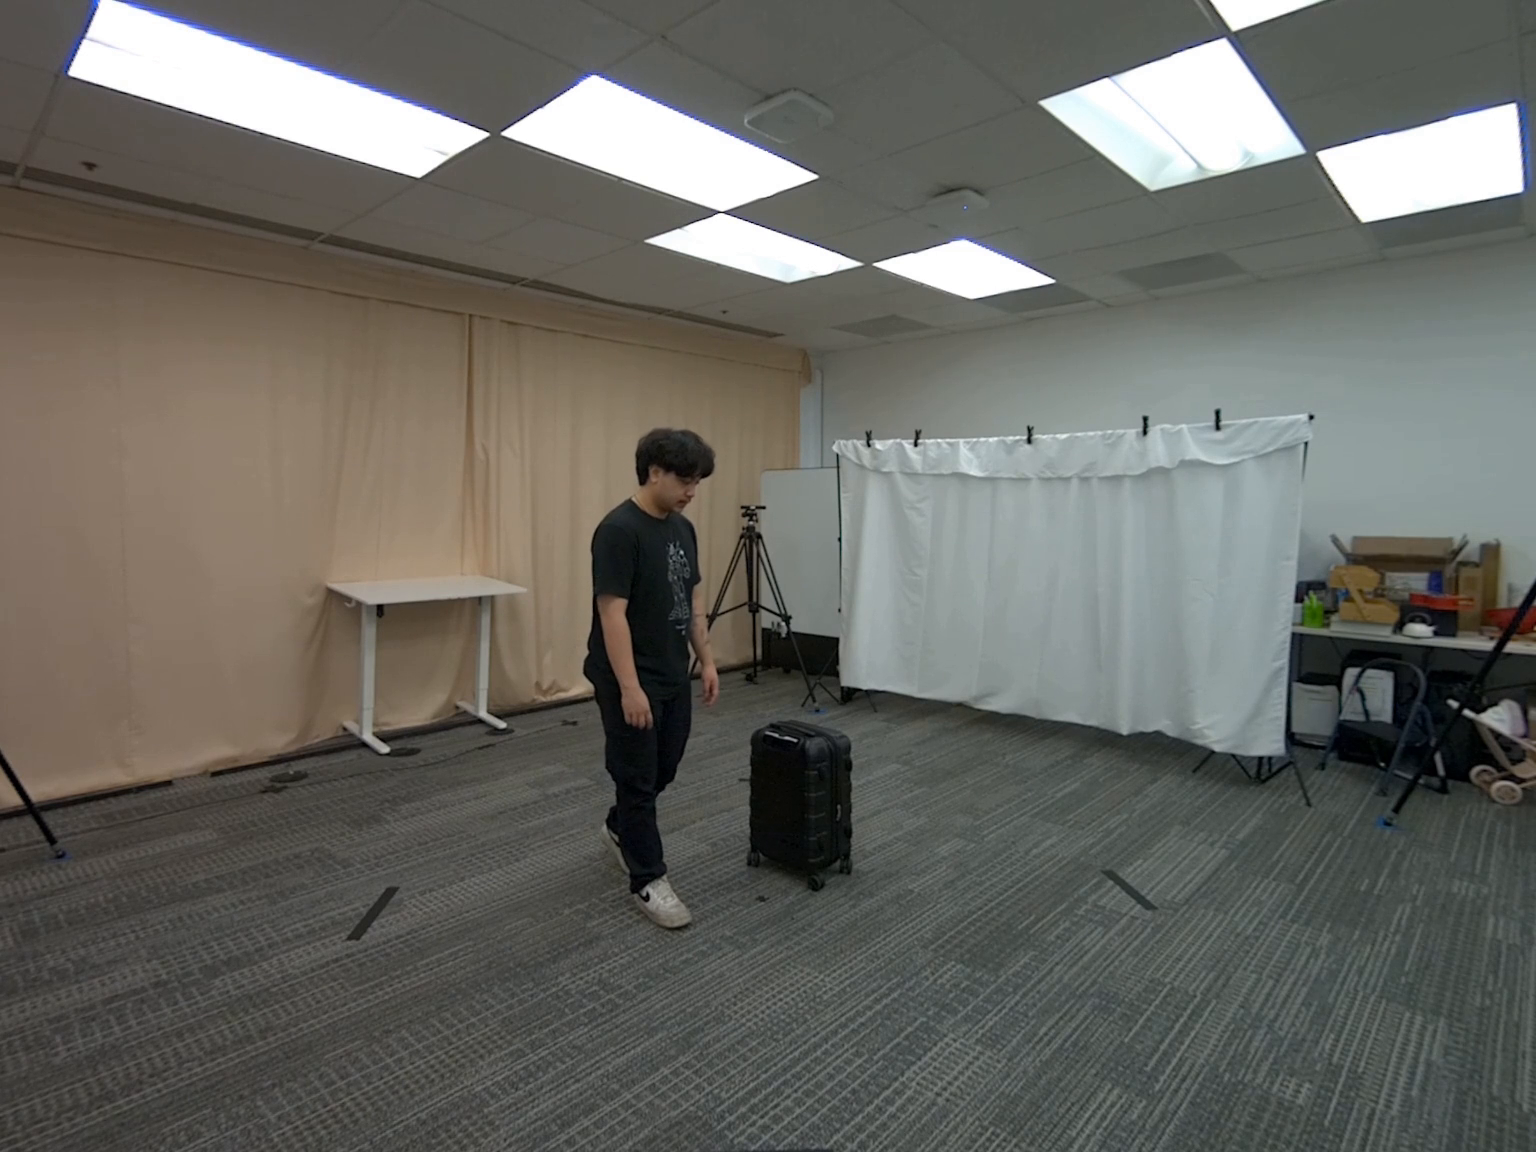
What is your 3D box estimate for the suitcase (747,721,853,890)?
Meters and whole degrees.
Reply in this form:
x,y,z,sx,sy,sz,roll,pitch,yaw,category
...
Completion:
x,y,z,sx,sy,sz,roll,pitch,yaw,category
0.125,0.848,3.244,0.388,0.549,0.240,3,2,43,suitcase
